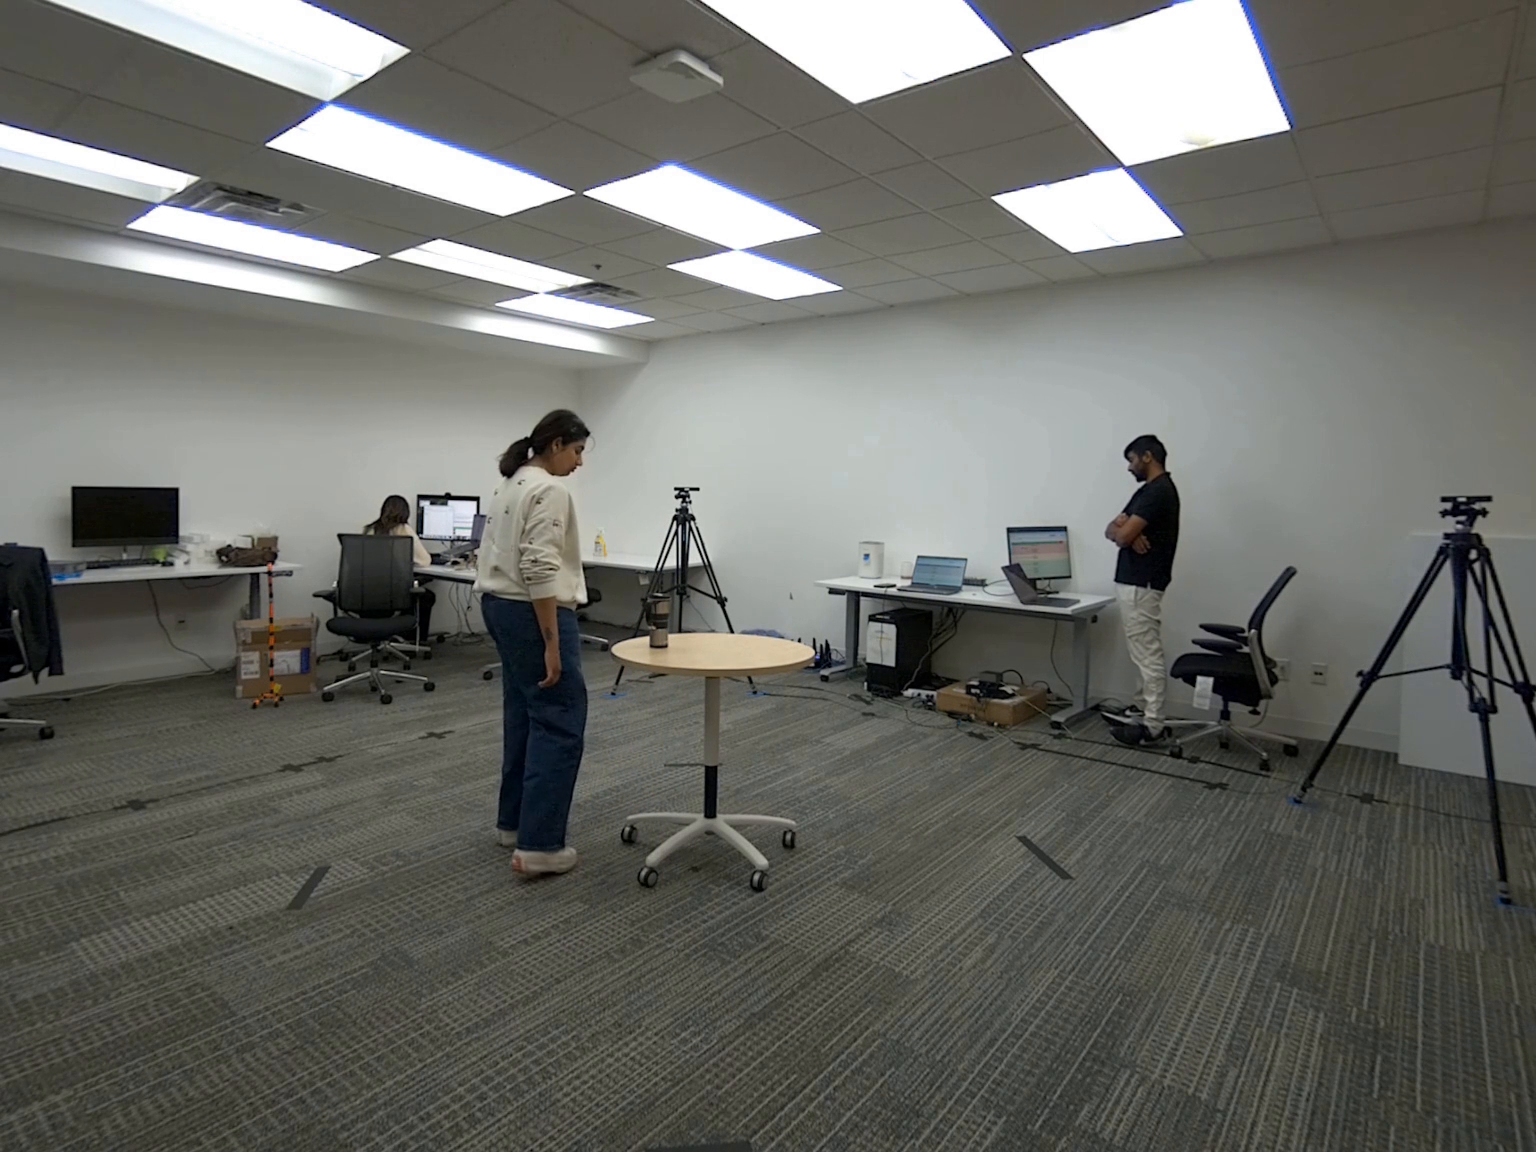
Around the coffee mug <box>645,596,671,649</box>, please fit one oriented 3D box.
[{"bbox_3d":[-0.444,0.173,3.223,0.118,0.203,0.091,4,0,-41],"label":"coffee mug"}]
